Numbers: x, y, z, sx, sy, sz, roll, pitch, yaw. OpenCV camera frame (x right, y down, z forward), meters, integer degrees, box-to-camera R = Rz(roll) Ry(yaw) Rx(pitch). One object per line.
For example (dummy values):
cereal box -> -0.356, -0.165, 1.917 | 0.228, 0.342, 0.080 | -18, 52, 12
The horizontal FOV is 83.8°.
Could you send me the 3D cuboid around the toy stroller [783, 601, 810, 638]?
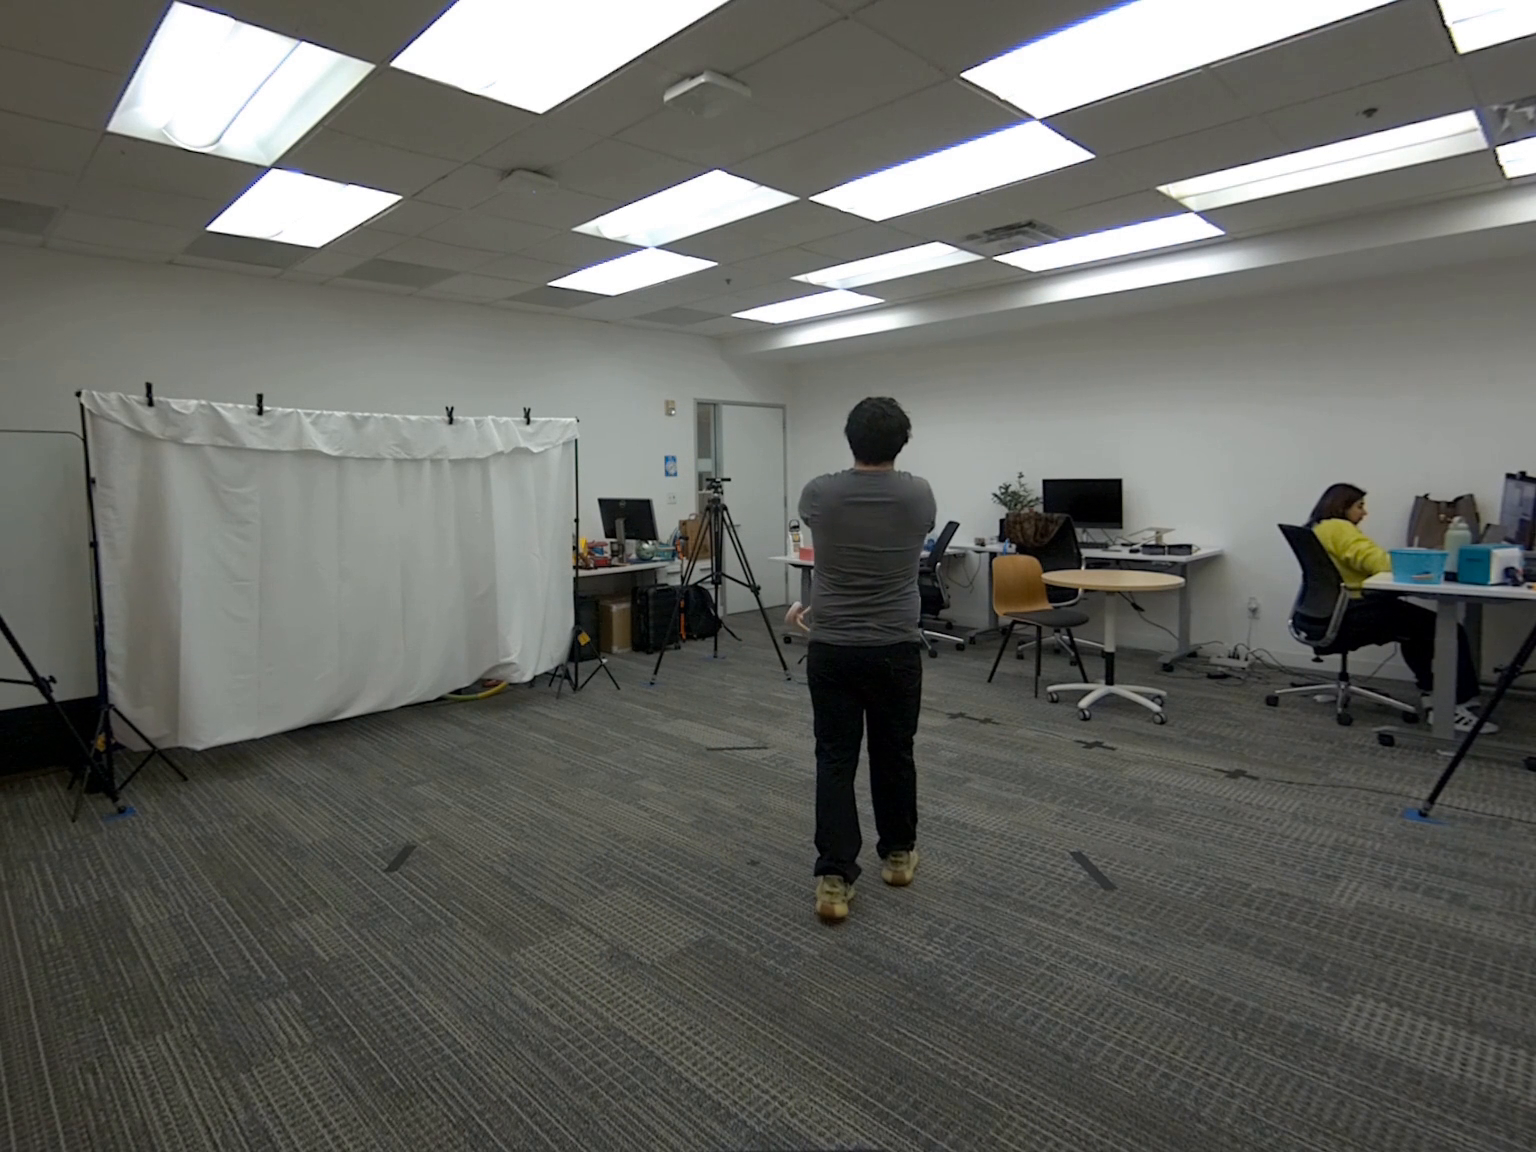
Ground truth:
toy stroller -> 0.319, 0.064, 3.605 | 0.289, 0.529, 0.335 | 32, 24, 22
